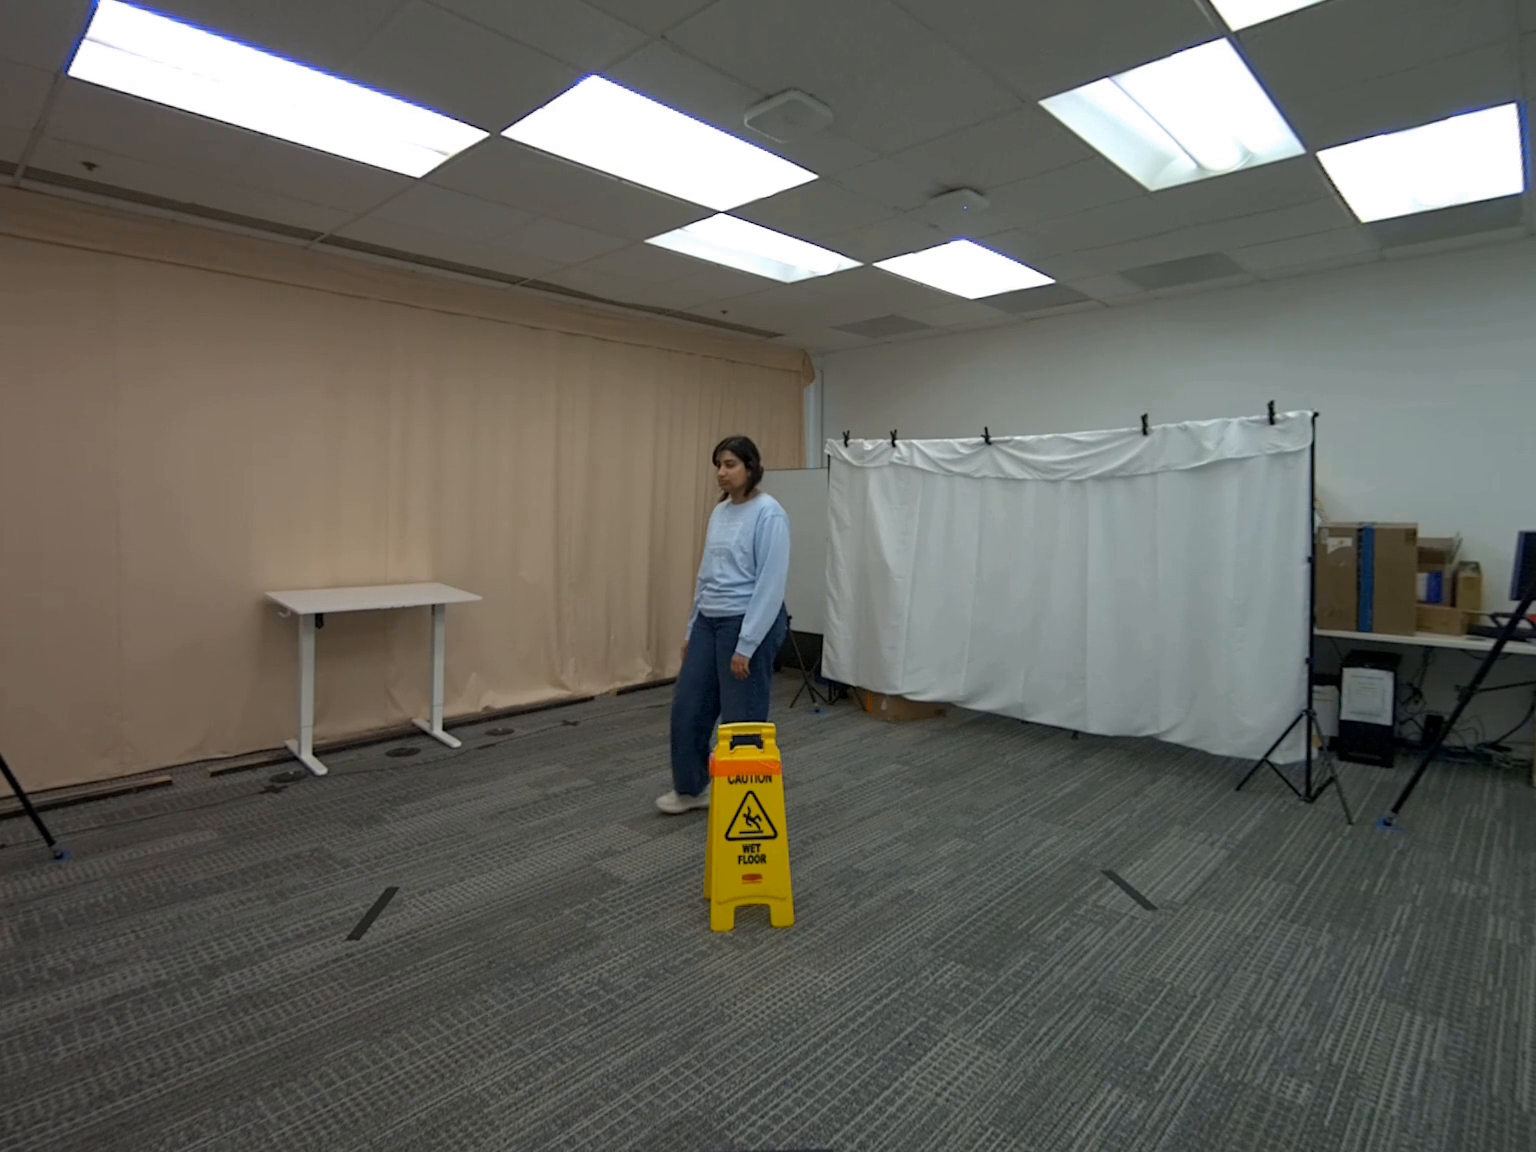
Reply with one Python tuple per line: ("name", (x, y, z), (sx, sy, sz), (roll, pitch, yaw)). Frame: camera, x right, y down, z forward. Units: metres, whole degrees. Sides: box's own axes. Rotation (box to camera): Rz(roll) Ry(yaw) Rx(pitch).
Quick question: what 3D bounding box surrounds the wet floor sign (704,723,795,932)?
("wet floor sign", (-0.079, 0.829, 2.876), (0.280, 0.644, 0.293), (-1, 4, -8))
